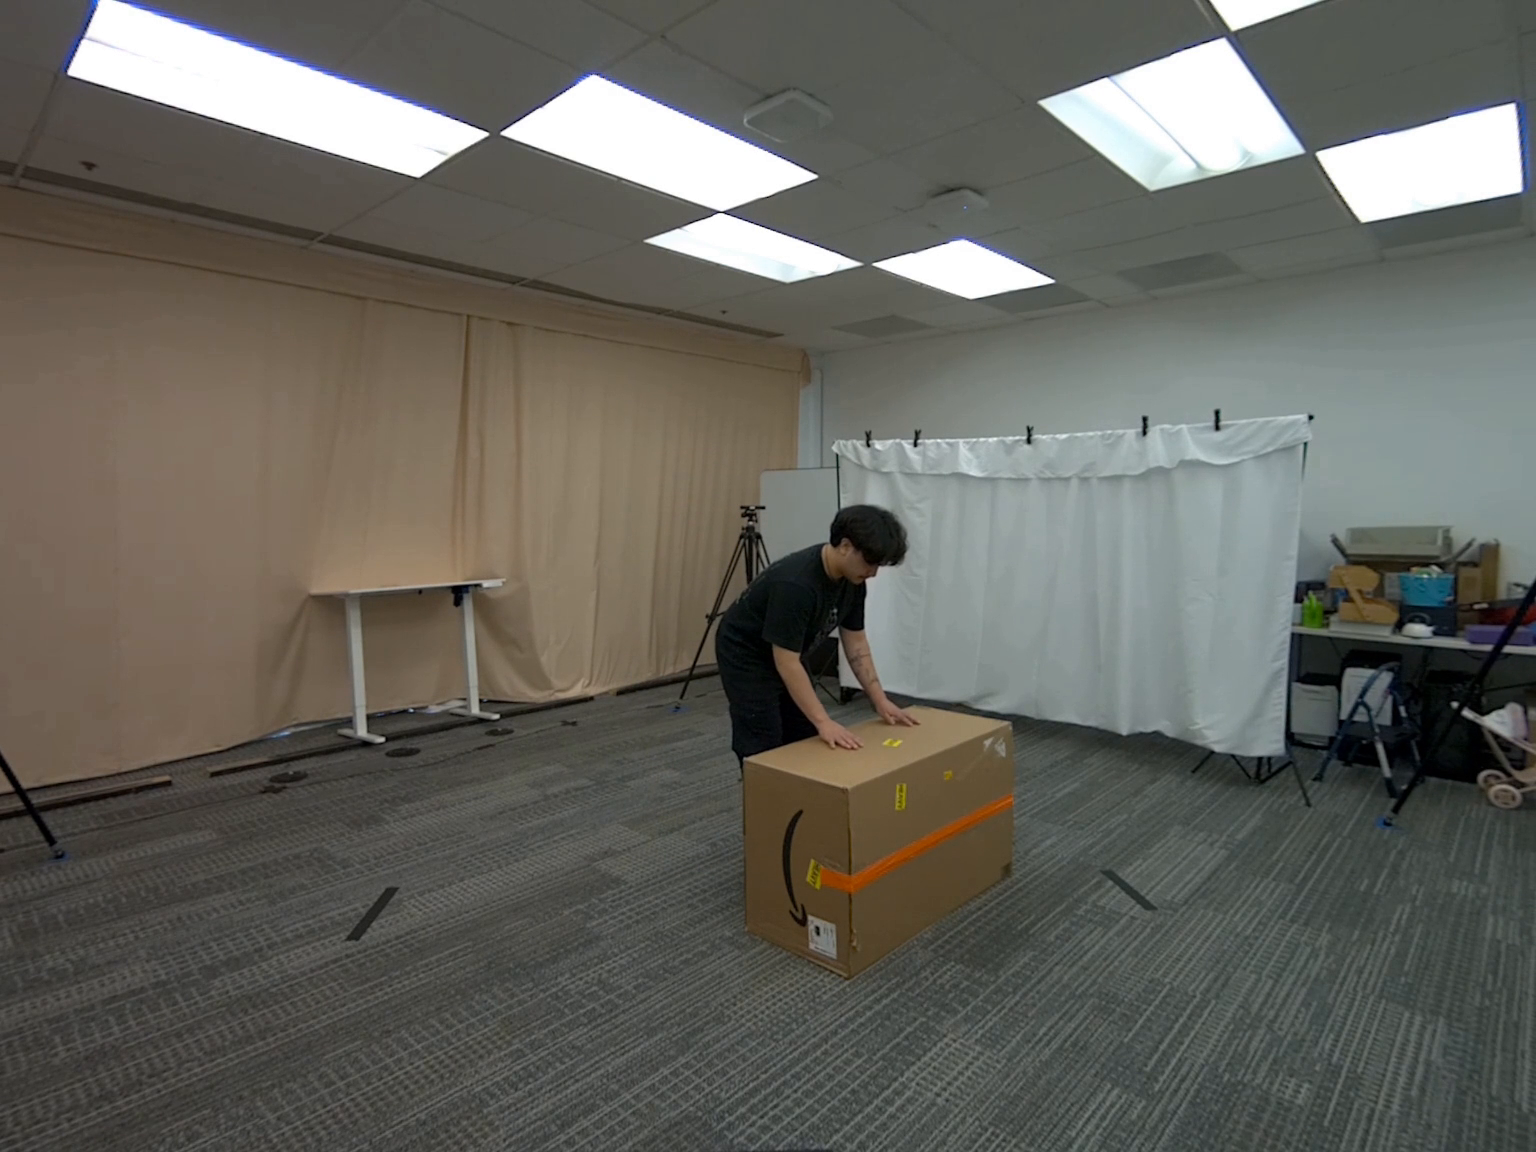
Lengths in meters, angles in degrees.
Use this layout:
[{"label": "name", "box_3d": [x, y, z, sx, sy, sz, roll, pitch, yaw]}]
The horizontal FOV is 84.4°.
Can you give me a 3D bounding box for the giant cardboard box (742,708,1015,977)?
[{"label": "giant cardboard box", "box_3d": [0.429, 0.862, 2.952, 0.462, 0.582, 0.996, 5, 7, 43]}]
